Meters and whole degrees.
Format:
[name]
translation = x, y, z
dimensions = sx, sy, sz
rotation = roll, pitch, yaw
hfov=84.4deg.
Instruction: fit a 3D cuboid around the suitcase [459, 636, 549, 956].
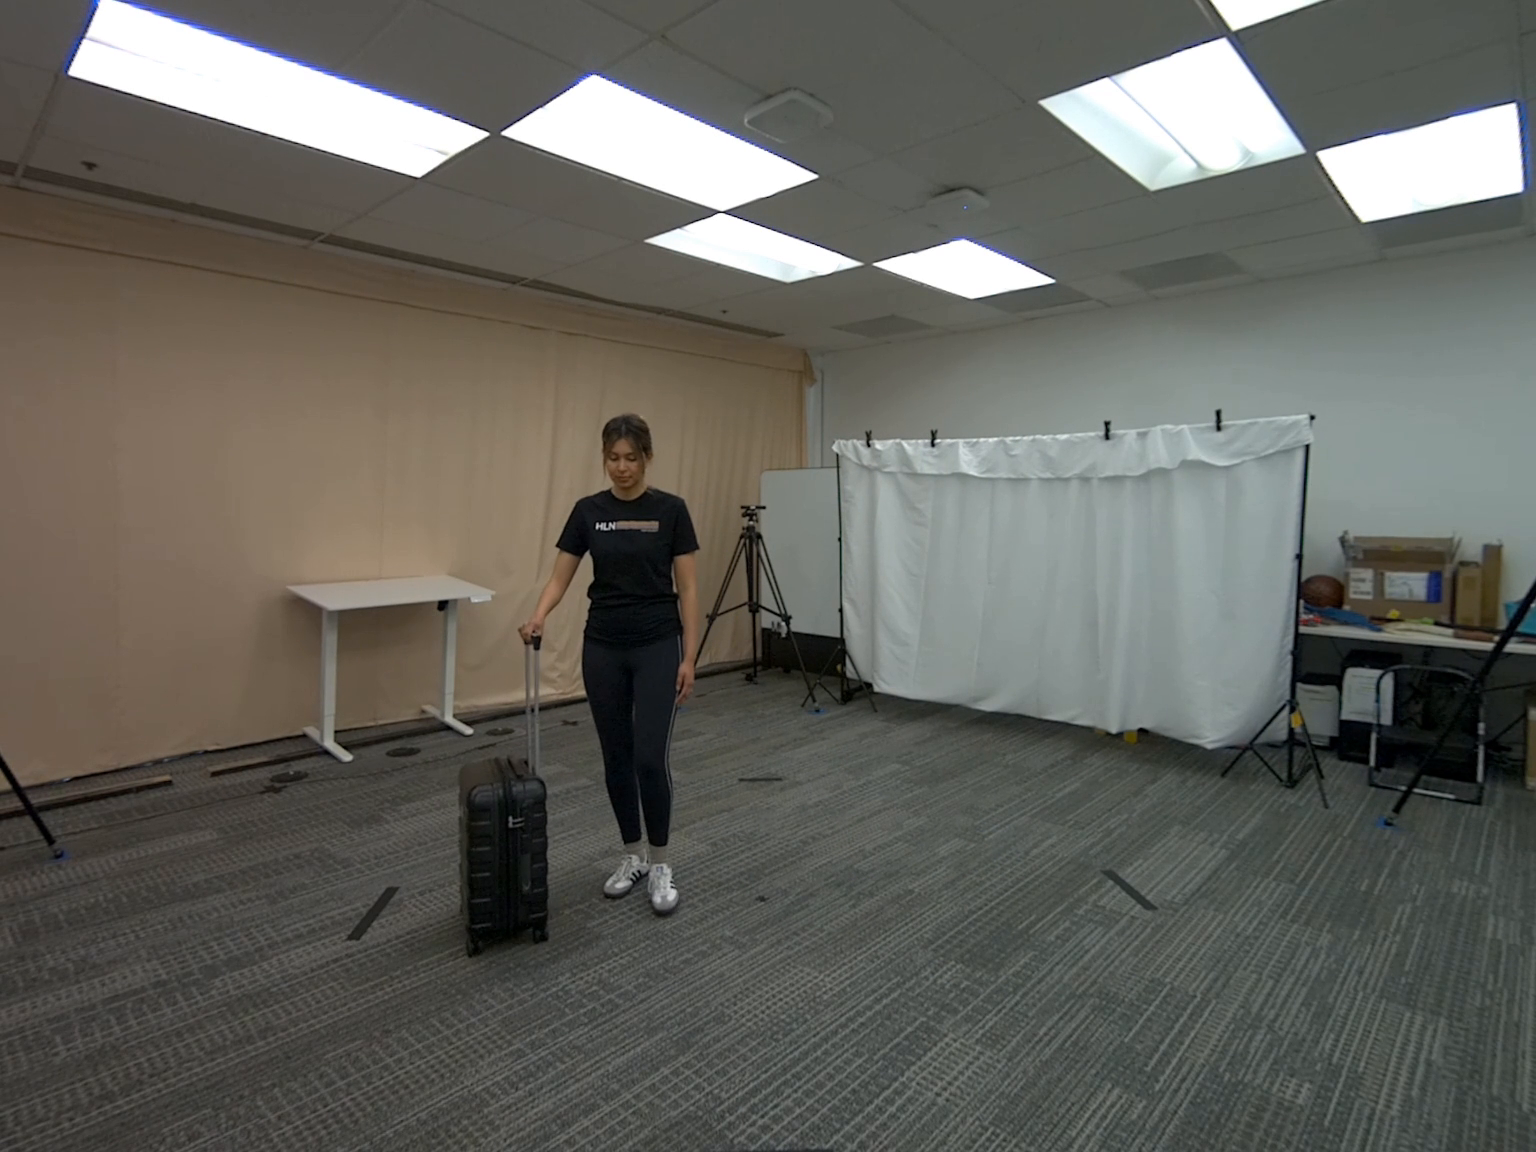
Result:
[suitcase]
translation = -0.875, 0.687, 2.753
dimensions = 0.252, 0.976, 0.393
rotation = -3, 5, -21
